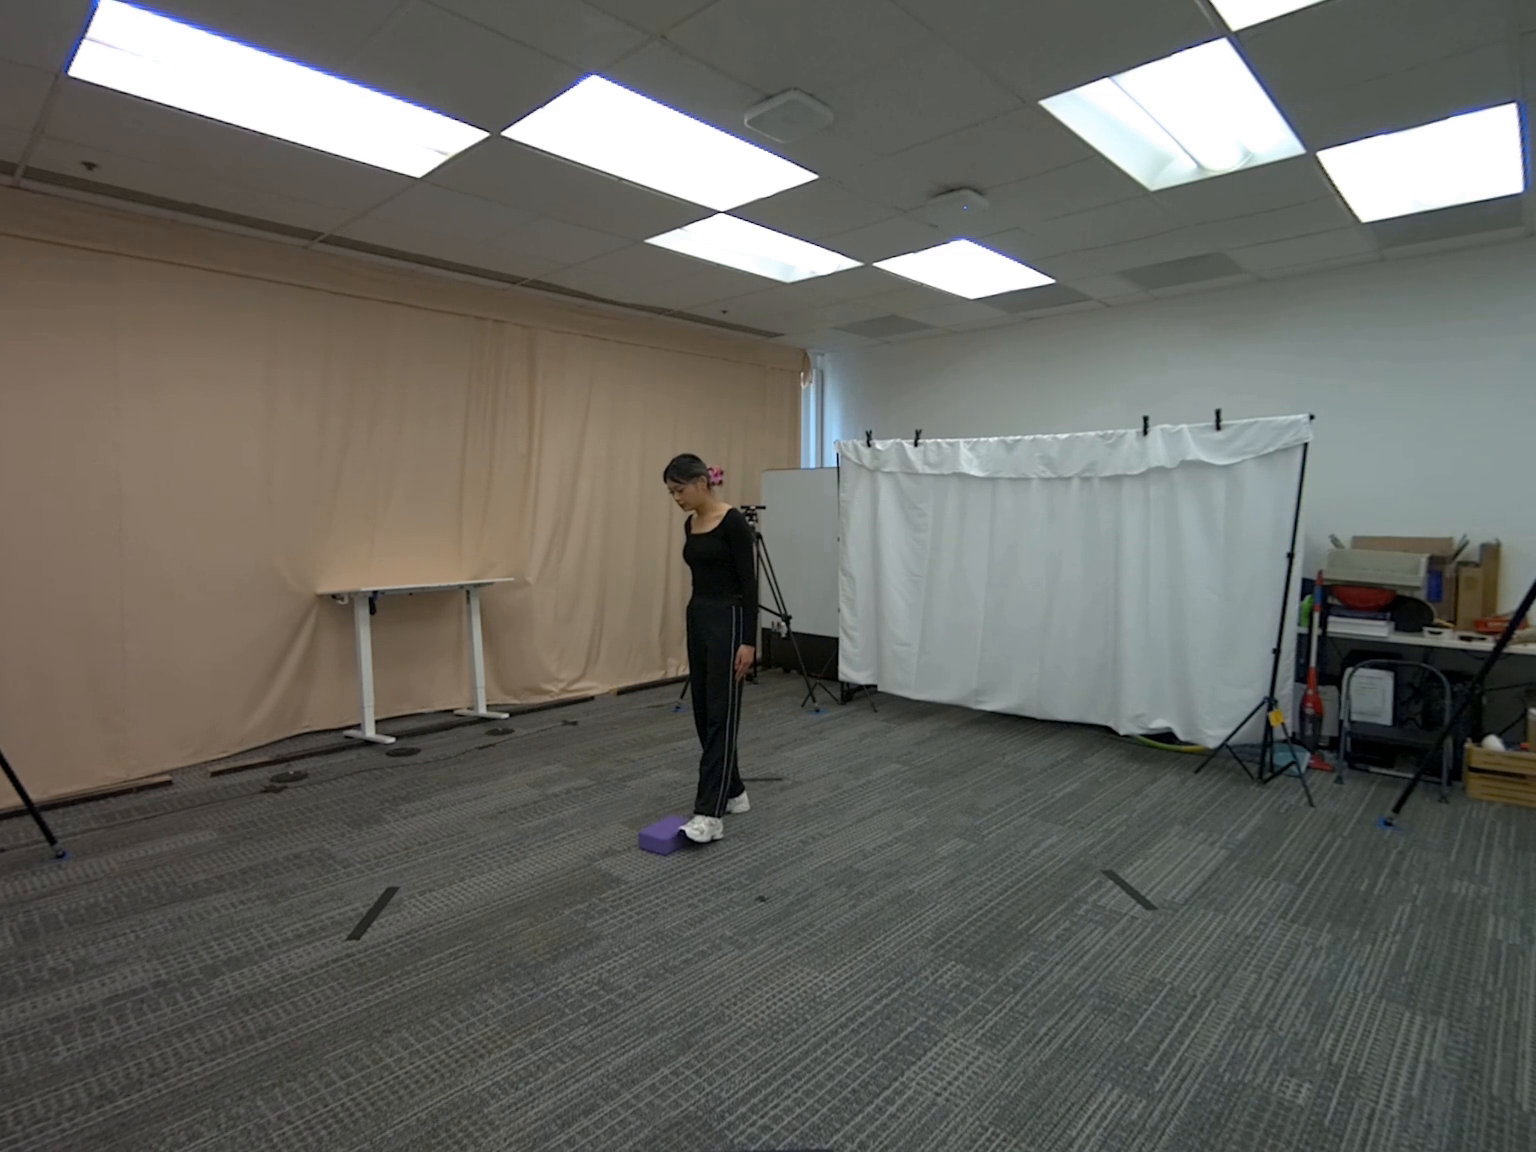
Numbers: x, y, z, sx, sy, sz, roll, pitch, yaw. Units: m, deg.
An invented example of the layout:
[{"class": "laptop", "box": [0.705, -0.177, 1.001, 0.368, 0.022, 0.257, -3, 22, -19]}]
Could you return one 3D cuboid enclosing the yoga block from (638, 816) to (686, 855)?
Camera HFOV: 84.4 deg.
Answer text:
[{"class": "yoga block", "box": [-0.411, 1.069, 3.478, 0.153, 0.076, 0.223, 2, 6, 32]}]
